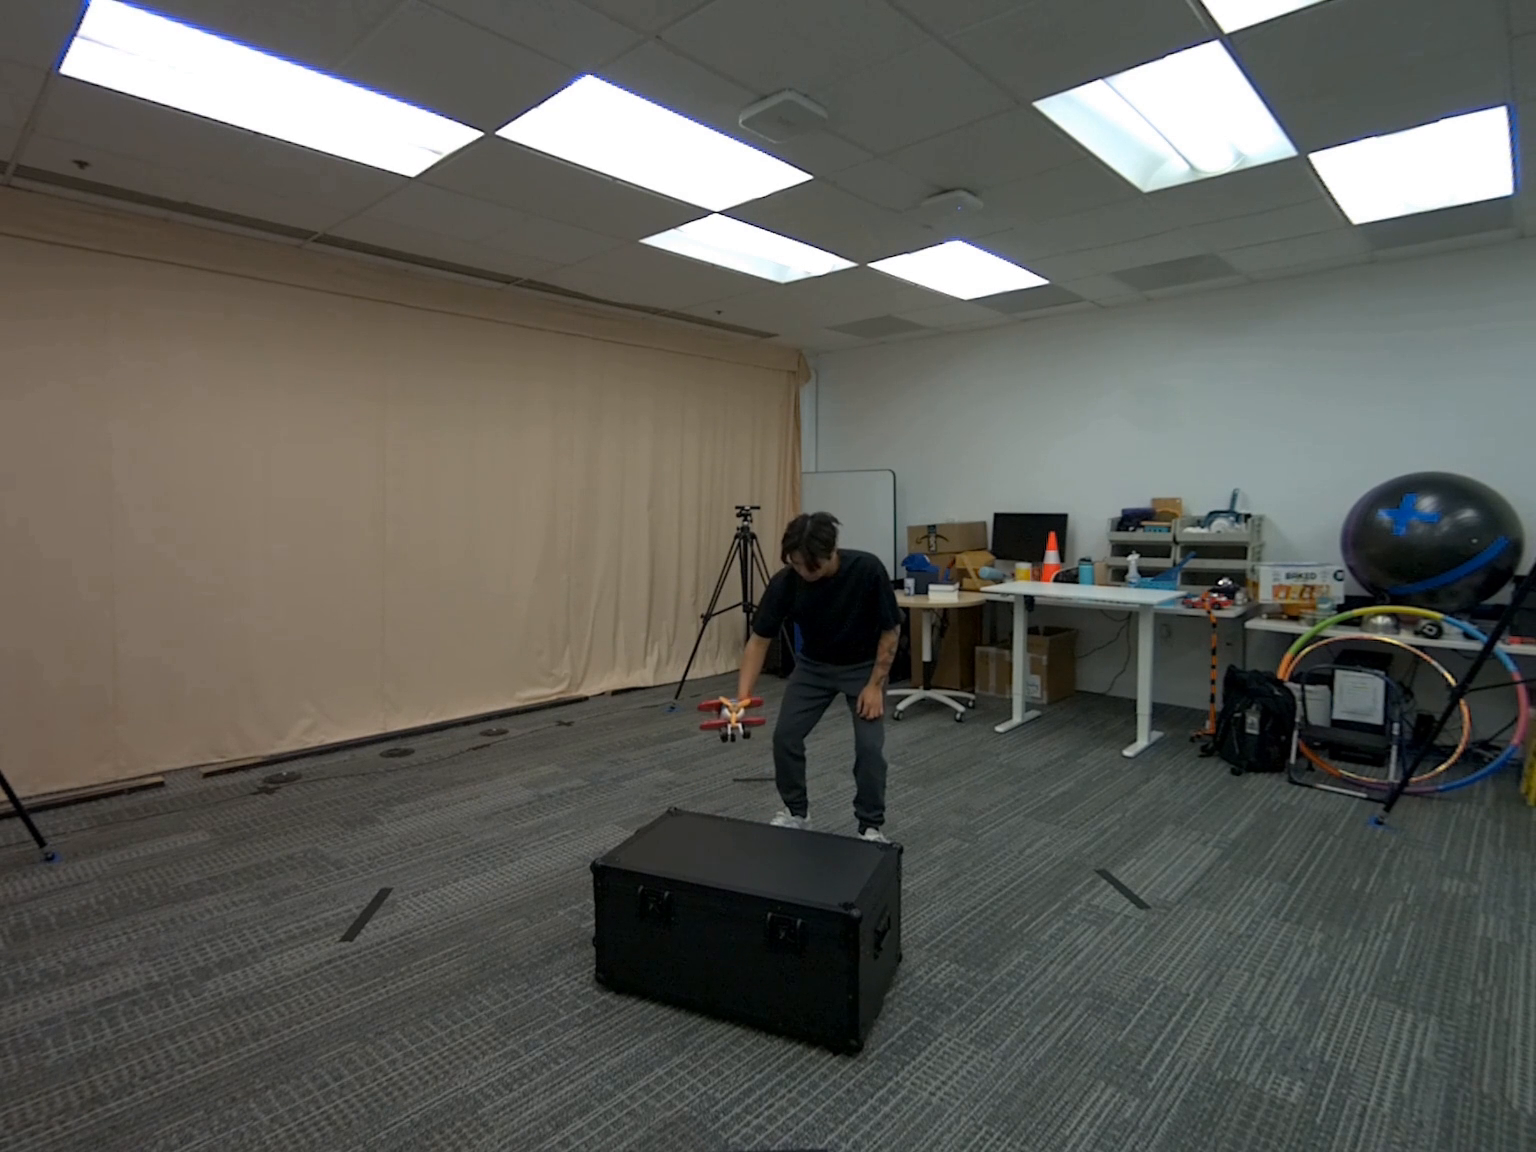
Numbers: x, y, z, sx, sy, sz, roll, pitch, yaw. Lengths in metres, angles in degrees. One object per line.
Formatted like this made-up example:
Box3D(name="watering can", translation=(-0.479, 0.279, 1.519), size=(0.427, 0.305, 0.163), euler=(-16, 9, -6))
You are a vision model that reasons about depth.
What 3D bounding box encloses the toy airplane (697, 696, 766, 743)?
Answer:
Box3D(name="toy airplane", translation=(-0.159, 0.556, 3.241), size=(0.243, 0.158, 0.265), euler=(7, -17, -37))
